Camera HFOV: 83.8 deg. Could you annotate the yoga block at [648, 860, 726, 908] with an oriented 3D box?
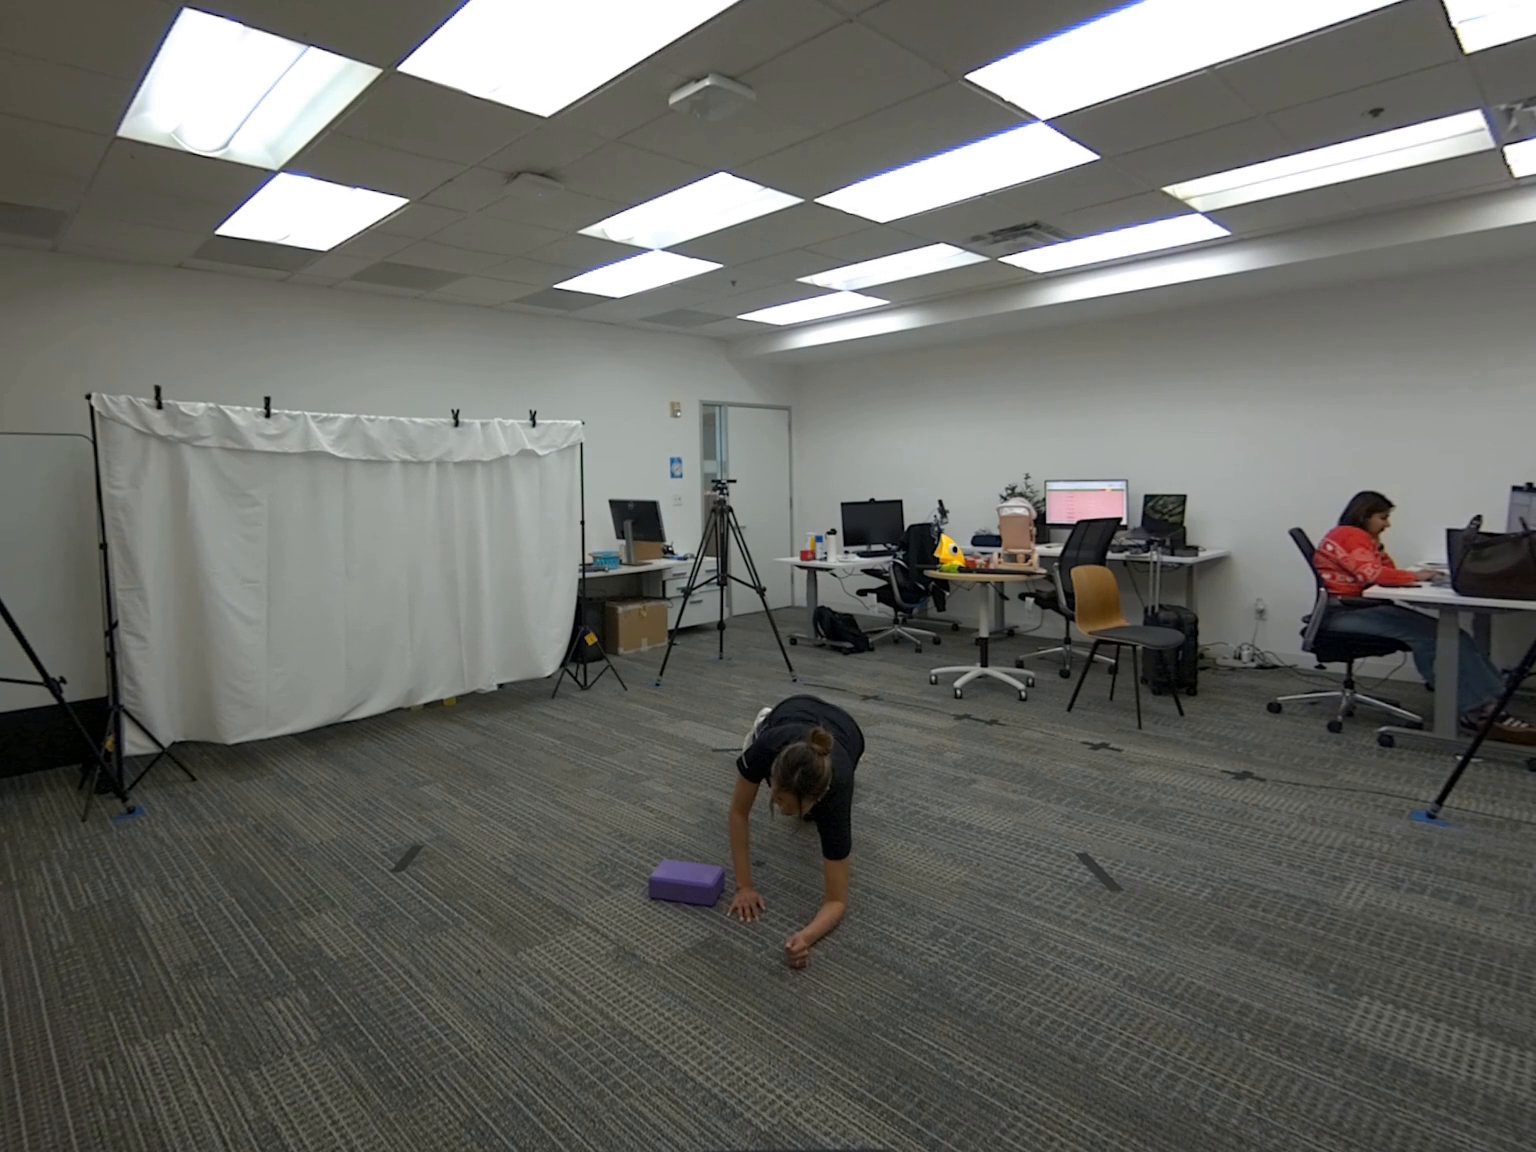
[{"bbox_3d":[-0.272,1.042,2.889,0.233,0.076,0.147,0,6,15],"label":"yoga block"}]
